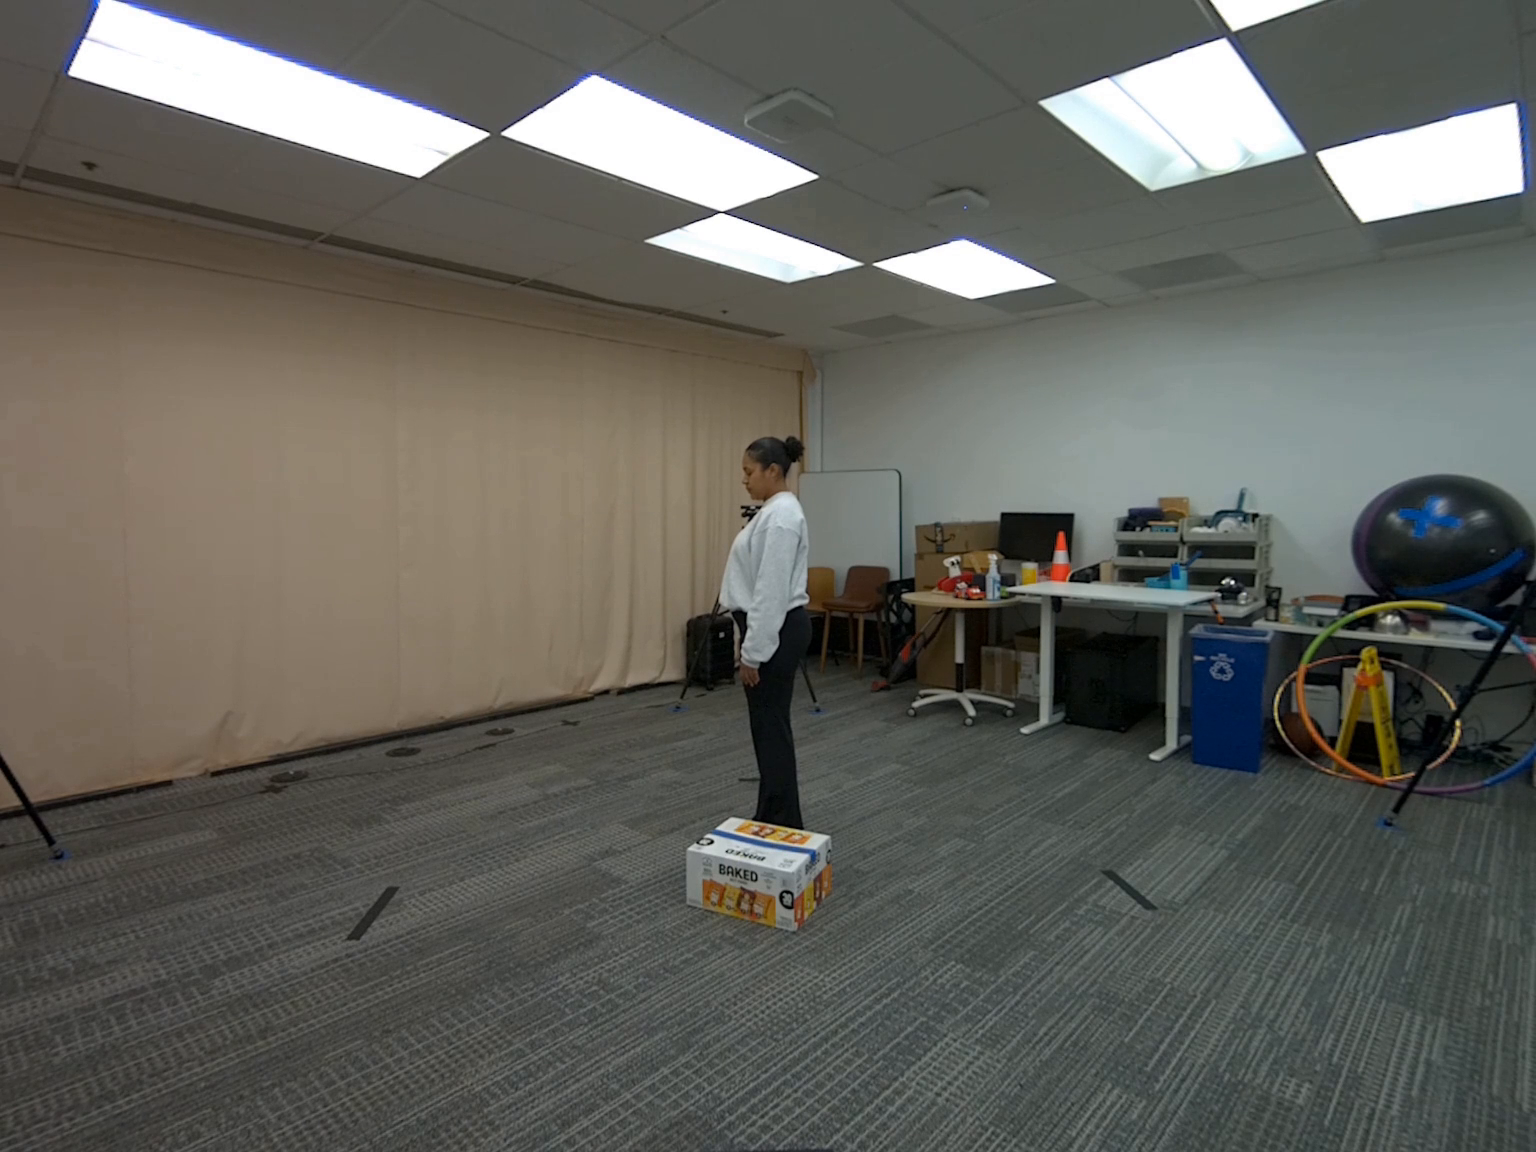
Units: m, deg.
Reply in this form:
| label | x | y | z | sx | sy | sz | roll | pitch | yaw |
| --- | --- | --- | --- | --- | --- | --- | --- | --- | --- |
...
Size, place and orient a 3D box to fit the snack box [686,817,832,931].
| label | x | y | z | sx | sy | sz | roll | pitch | yaw |
| --- | --- | --- | --- | --- | --- | --- | --- | --- | --- |
| snack box | -0.025 | 1.044 | 2.977 | 0.416 | 0.205 | 0.332 | 2 | 5 | 27 |
